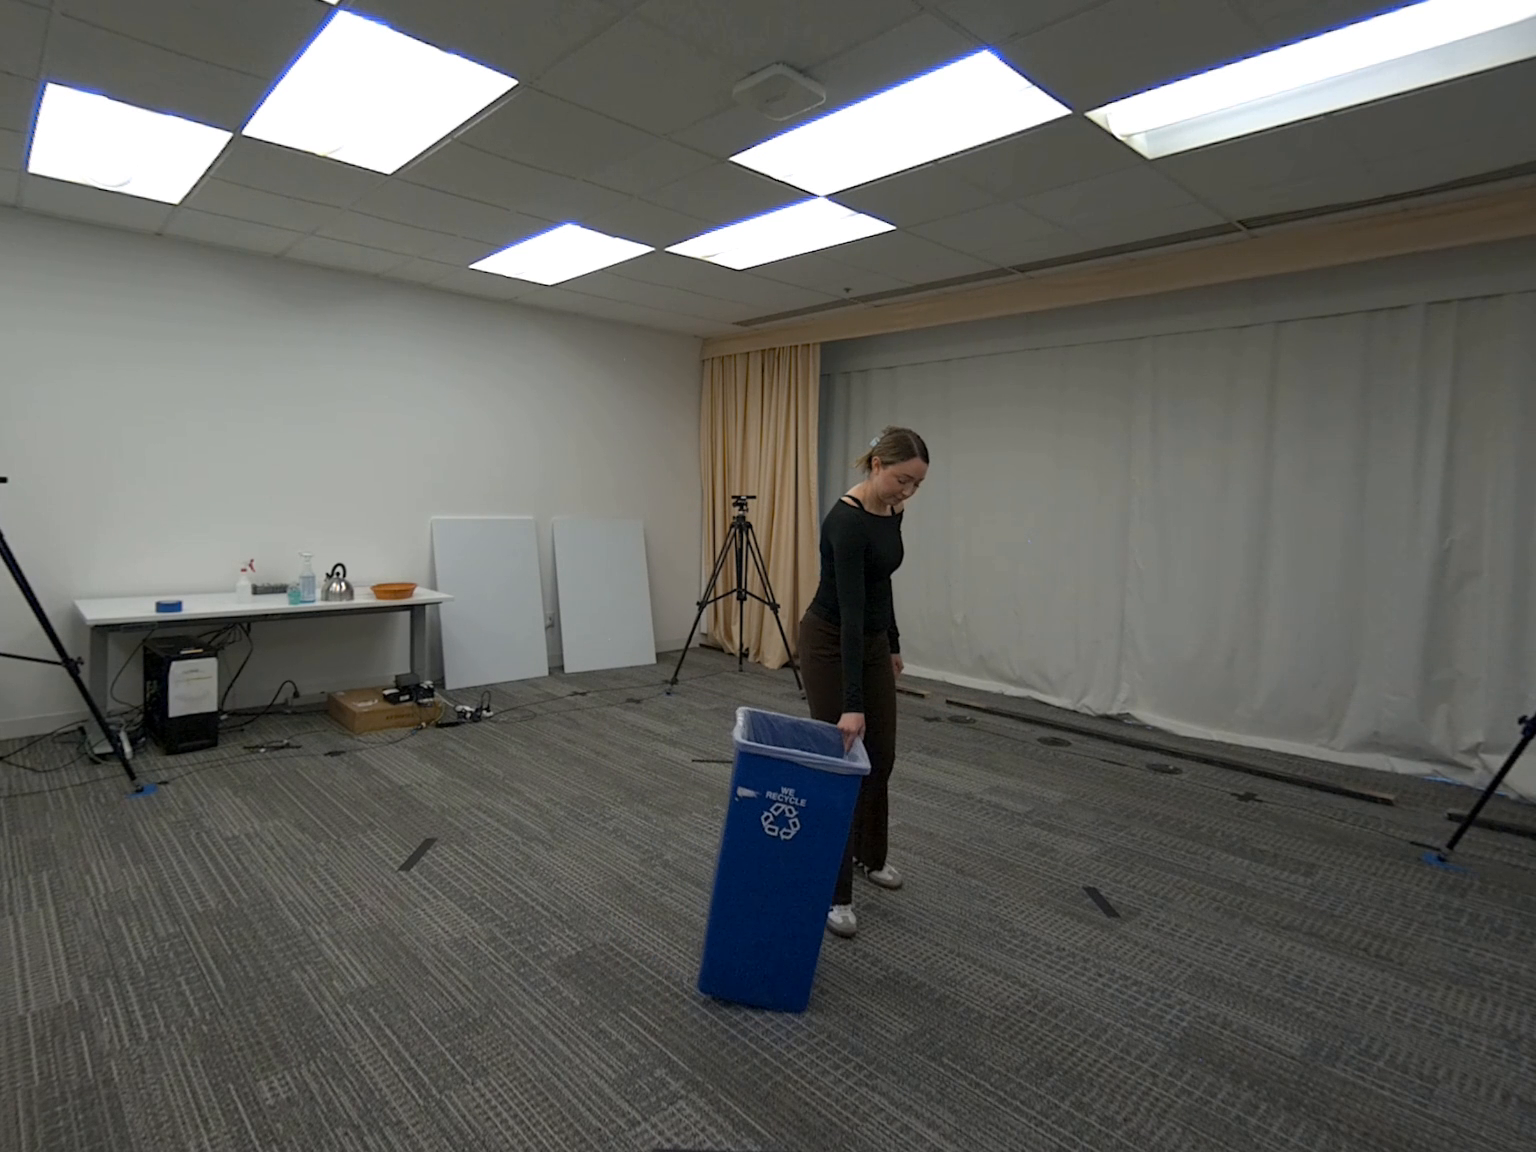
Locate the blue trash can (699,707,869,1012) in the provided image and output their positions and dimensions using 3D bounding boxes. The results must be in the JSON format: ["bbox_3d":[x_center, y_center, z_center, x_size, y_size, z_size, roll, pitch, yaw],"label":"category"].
[{"bbox_3d":[0.022,0.797,2.399,0.374,0.712,0.379,11,4,-1],"label":"blue trash can"}]
